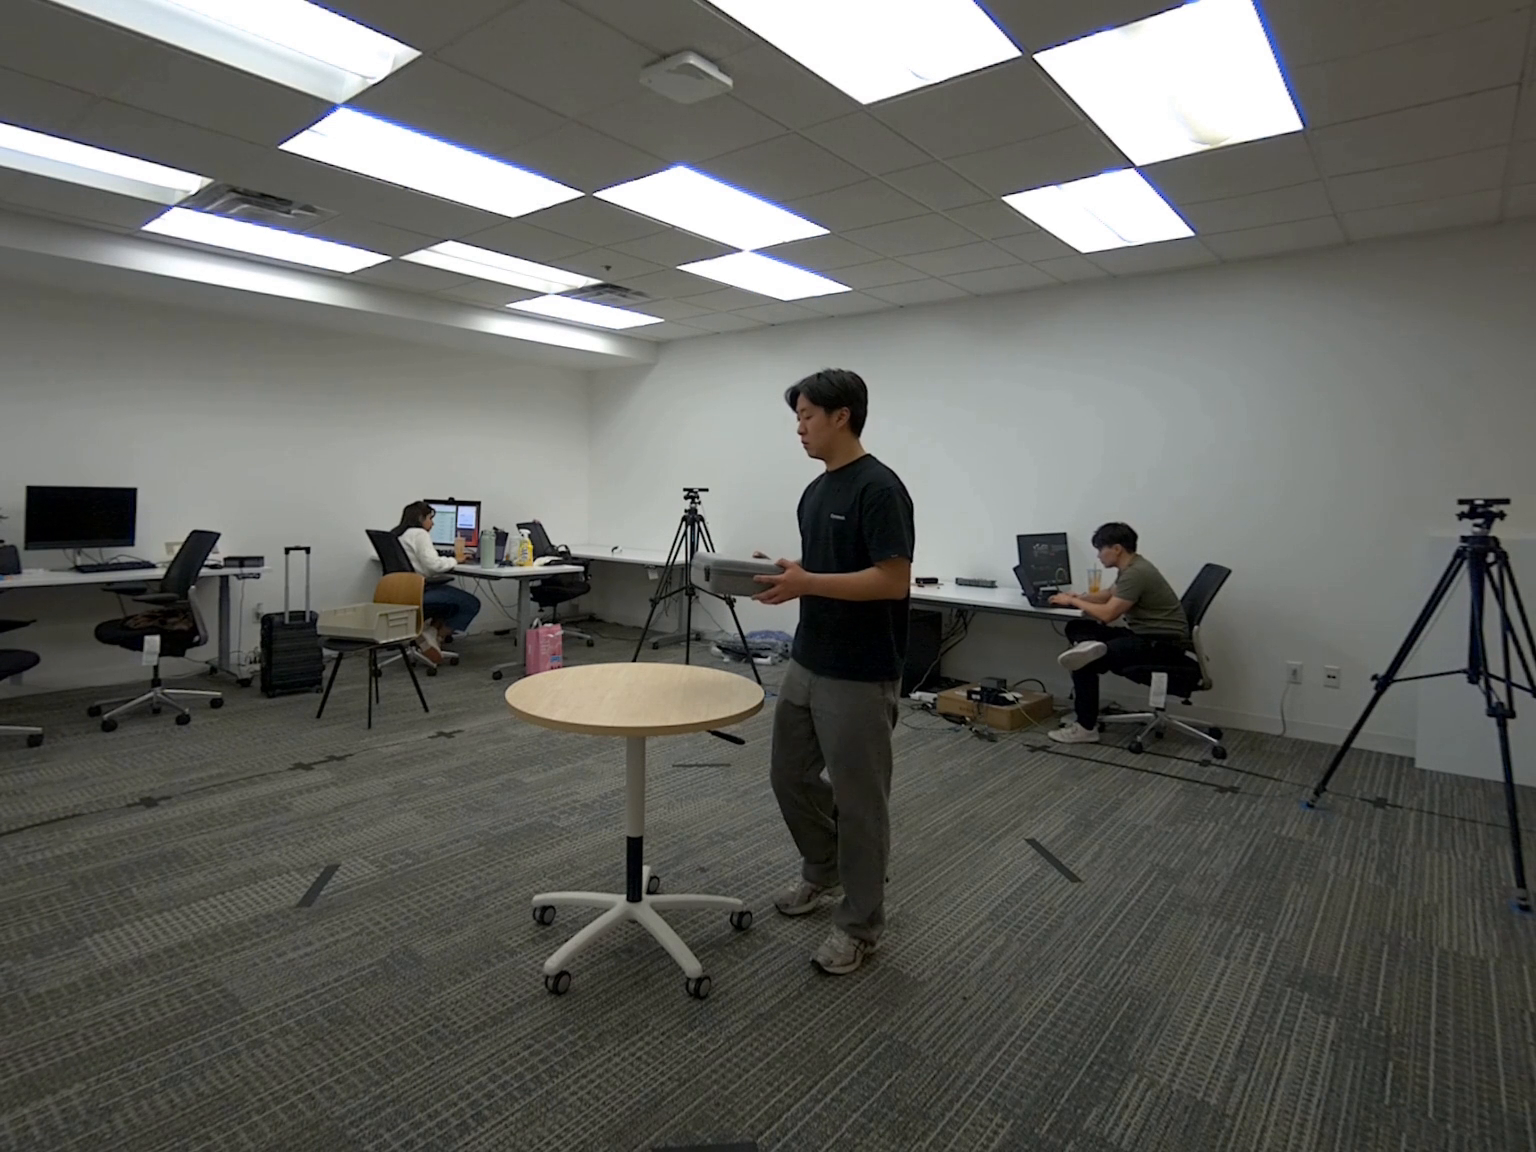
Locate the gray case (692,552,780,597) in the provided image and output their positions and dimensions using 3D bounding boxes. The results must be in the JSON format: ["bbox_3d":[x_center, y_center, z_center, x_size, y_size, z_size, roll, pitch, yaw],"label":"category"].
[{"bbox_3d":[-0.070,-0.005,2.507,0.283,0.103,0.267,5,4,-12],"label":"gray case"}]
